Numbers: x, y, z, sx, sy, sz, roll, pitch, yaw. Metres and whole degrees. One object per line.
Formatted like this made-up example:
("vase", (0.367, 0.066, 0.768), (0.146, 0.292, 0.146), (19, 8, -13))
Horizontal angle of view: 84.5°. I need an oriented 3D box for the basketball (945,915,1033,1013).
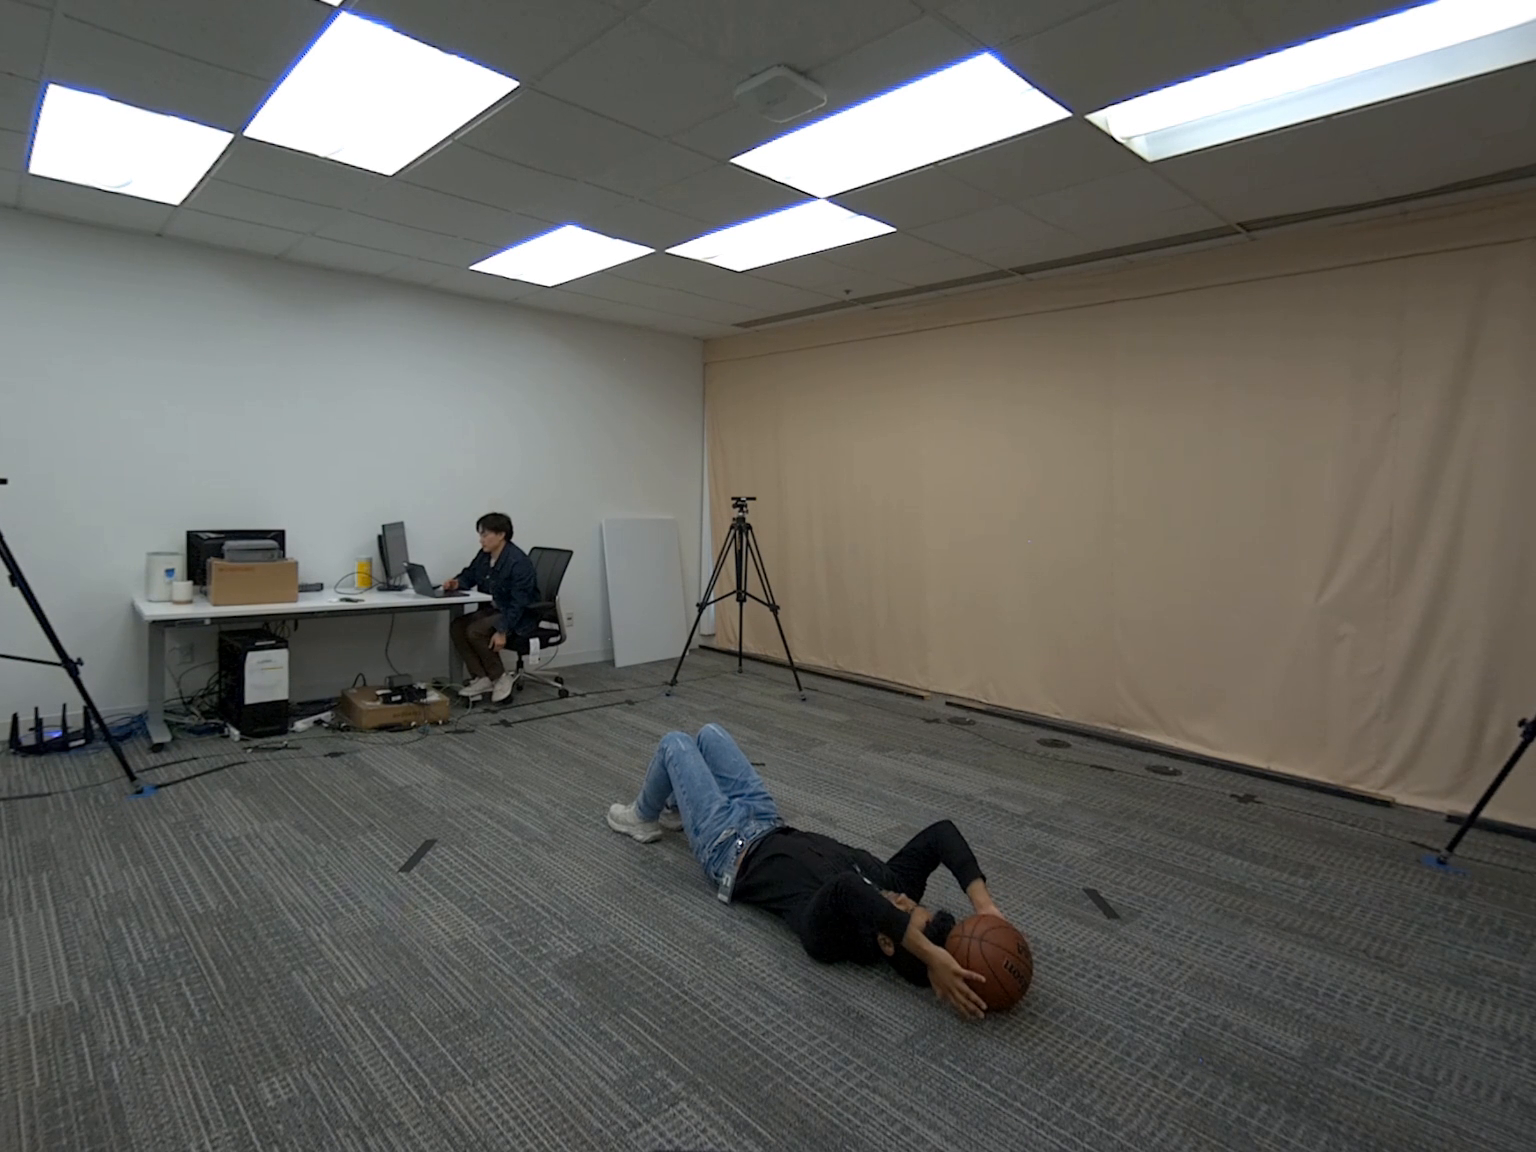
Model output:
("basketball", (0.604, 1.075, 2.351), (0.236, 0.235, 0.237), (1, 4, -1))
